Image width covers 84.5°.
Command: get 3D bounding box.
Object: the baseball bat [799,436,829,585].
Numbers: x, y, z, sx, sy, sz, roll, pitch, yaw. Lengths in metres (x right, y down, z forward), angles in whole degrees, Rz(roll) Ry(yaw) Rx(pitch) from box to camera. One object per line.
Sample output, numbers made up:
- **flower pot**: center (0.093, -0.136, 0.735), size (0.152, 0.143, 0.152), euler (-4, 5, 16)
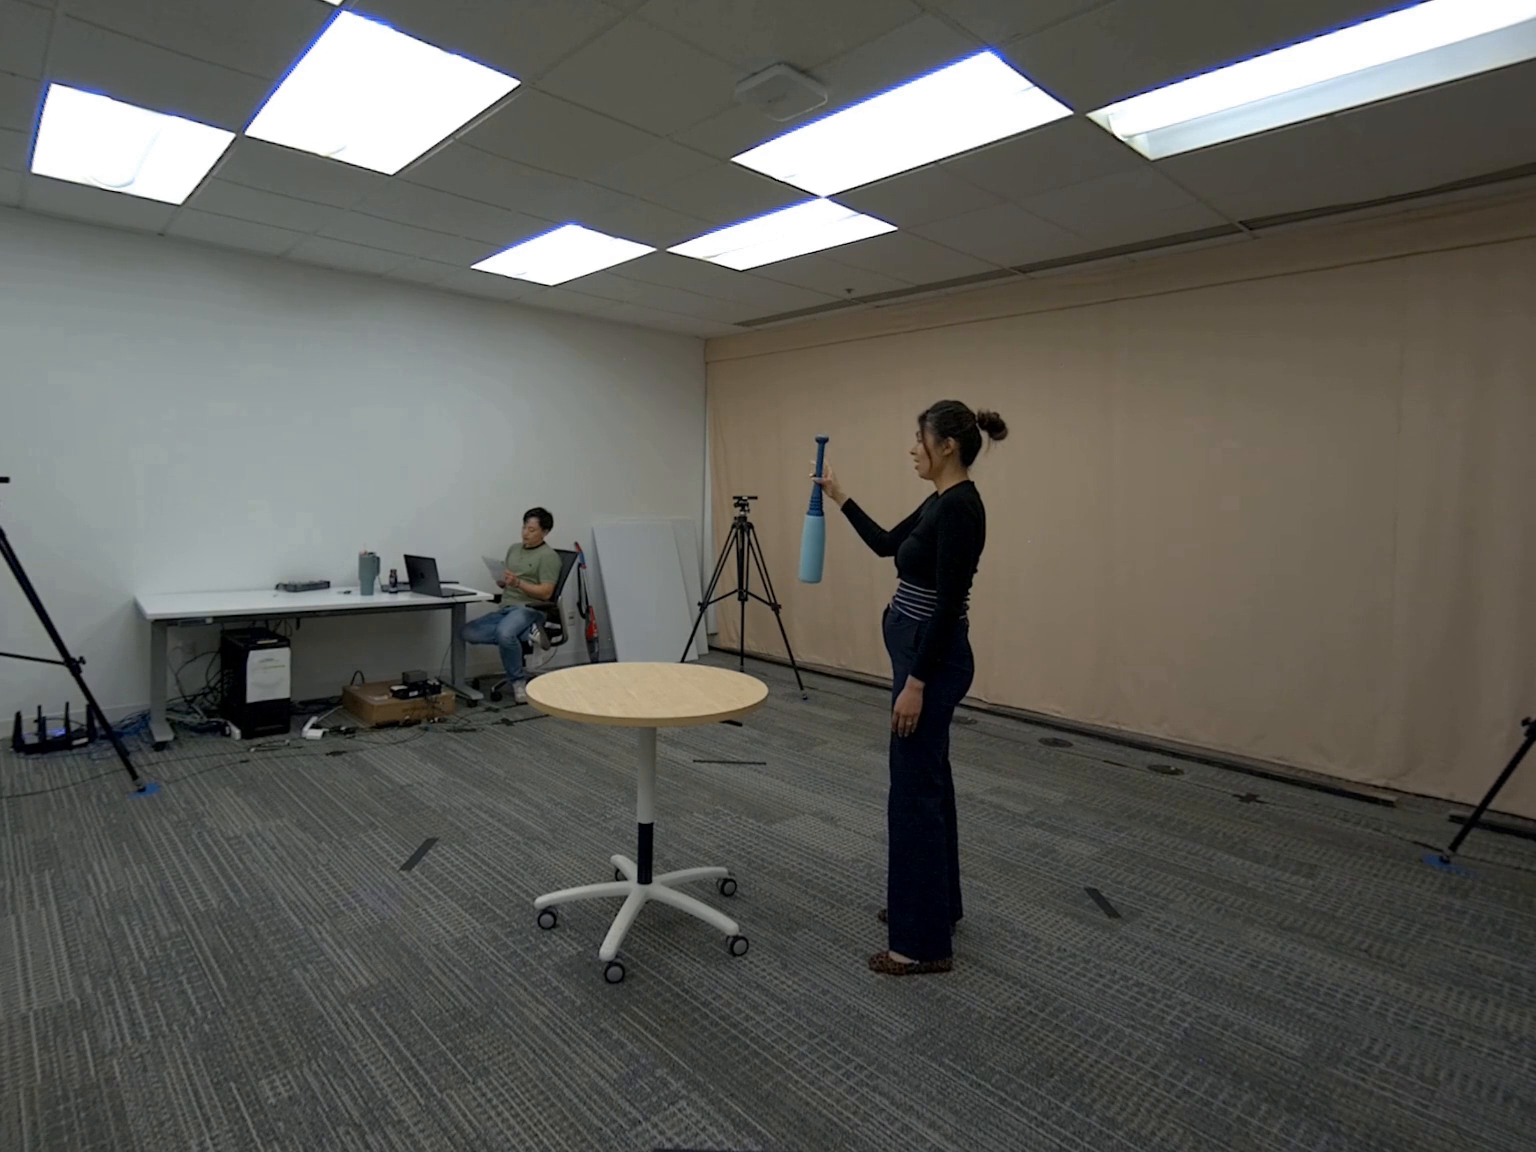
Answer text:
- **baseball bat**: center (0.171, -0.232, 3.100), size (0.089, 0.540, 0.089), euler (4, 7, -2)
